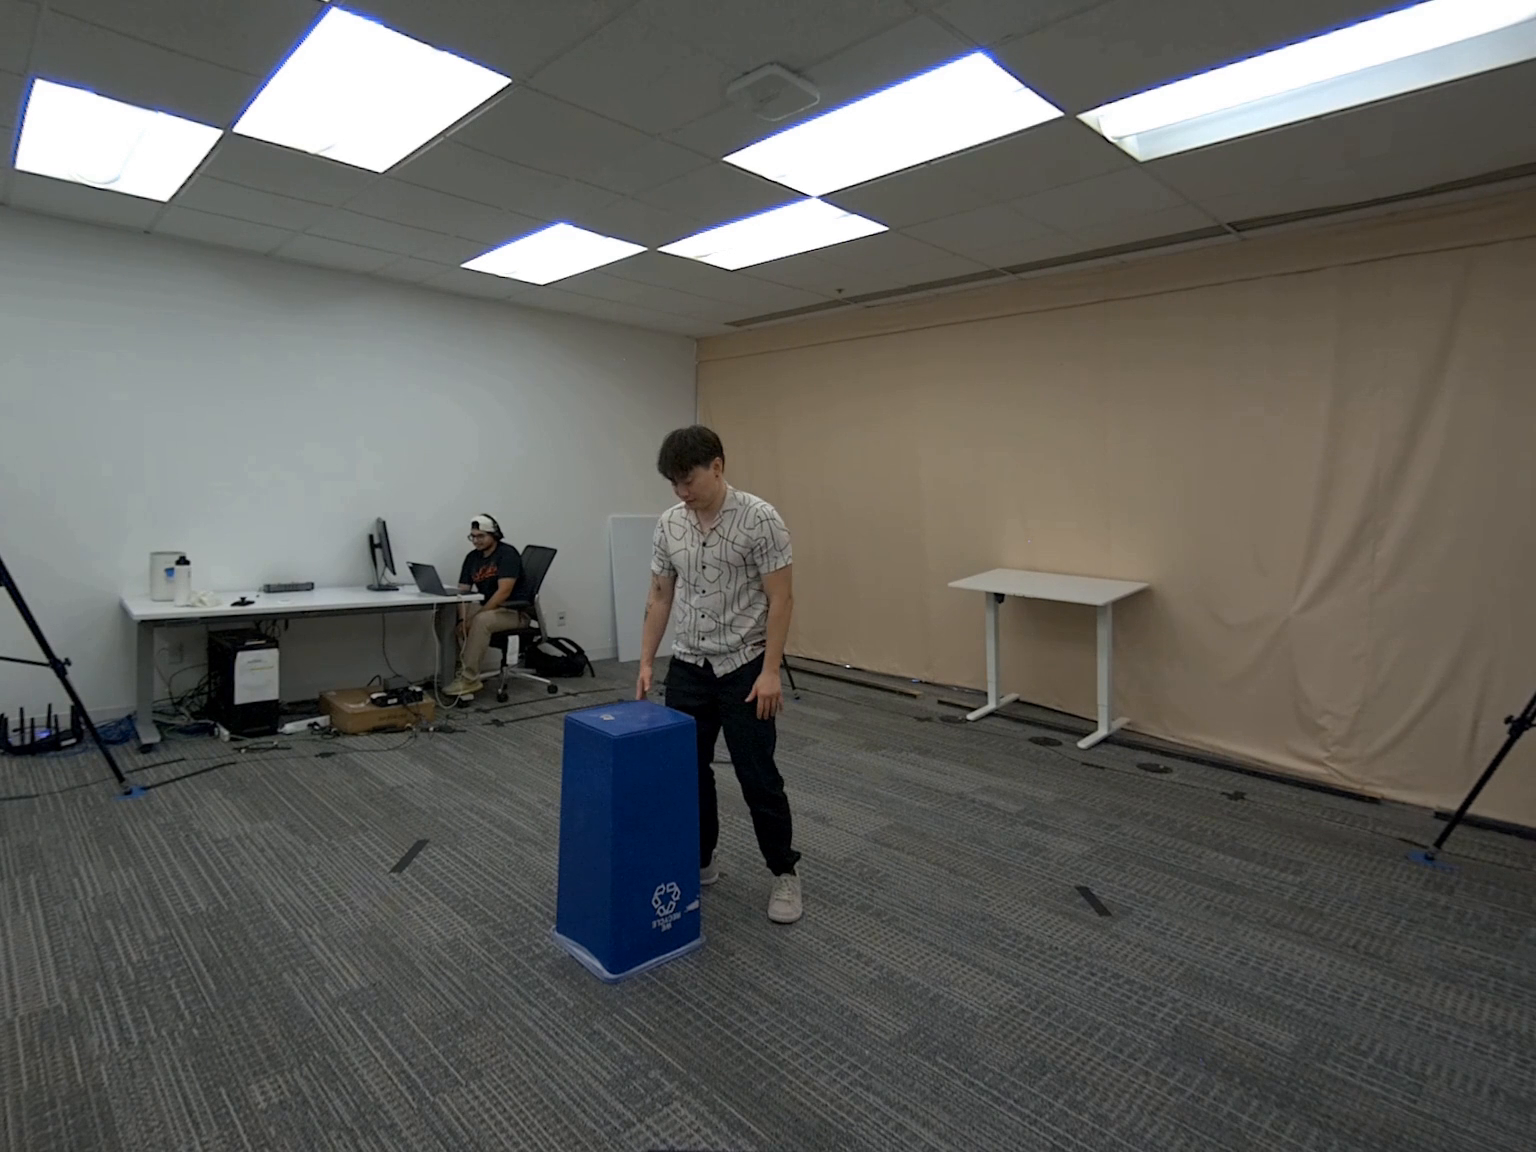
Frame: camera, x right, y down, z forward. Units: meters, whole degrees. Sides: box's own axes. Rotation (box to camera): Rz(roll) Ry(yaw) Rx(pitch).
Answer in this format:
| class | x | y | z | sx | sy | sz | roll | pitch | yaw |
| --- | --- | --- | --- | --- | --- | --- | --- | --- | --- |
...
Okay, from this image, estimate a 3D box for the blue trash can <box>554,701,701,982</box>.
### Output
| class | x | y | z | sx | sy | sz | roll | pitch | yaw |
| --- | --- | --- | --- | --- | --- | --- | --- | --- | --- |
| blue trash can | -0.439 | 0.790 | 2.604 | 0.369 | 0.711 | 0.384 | -3 | 6 | -42 |
